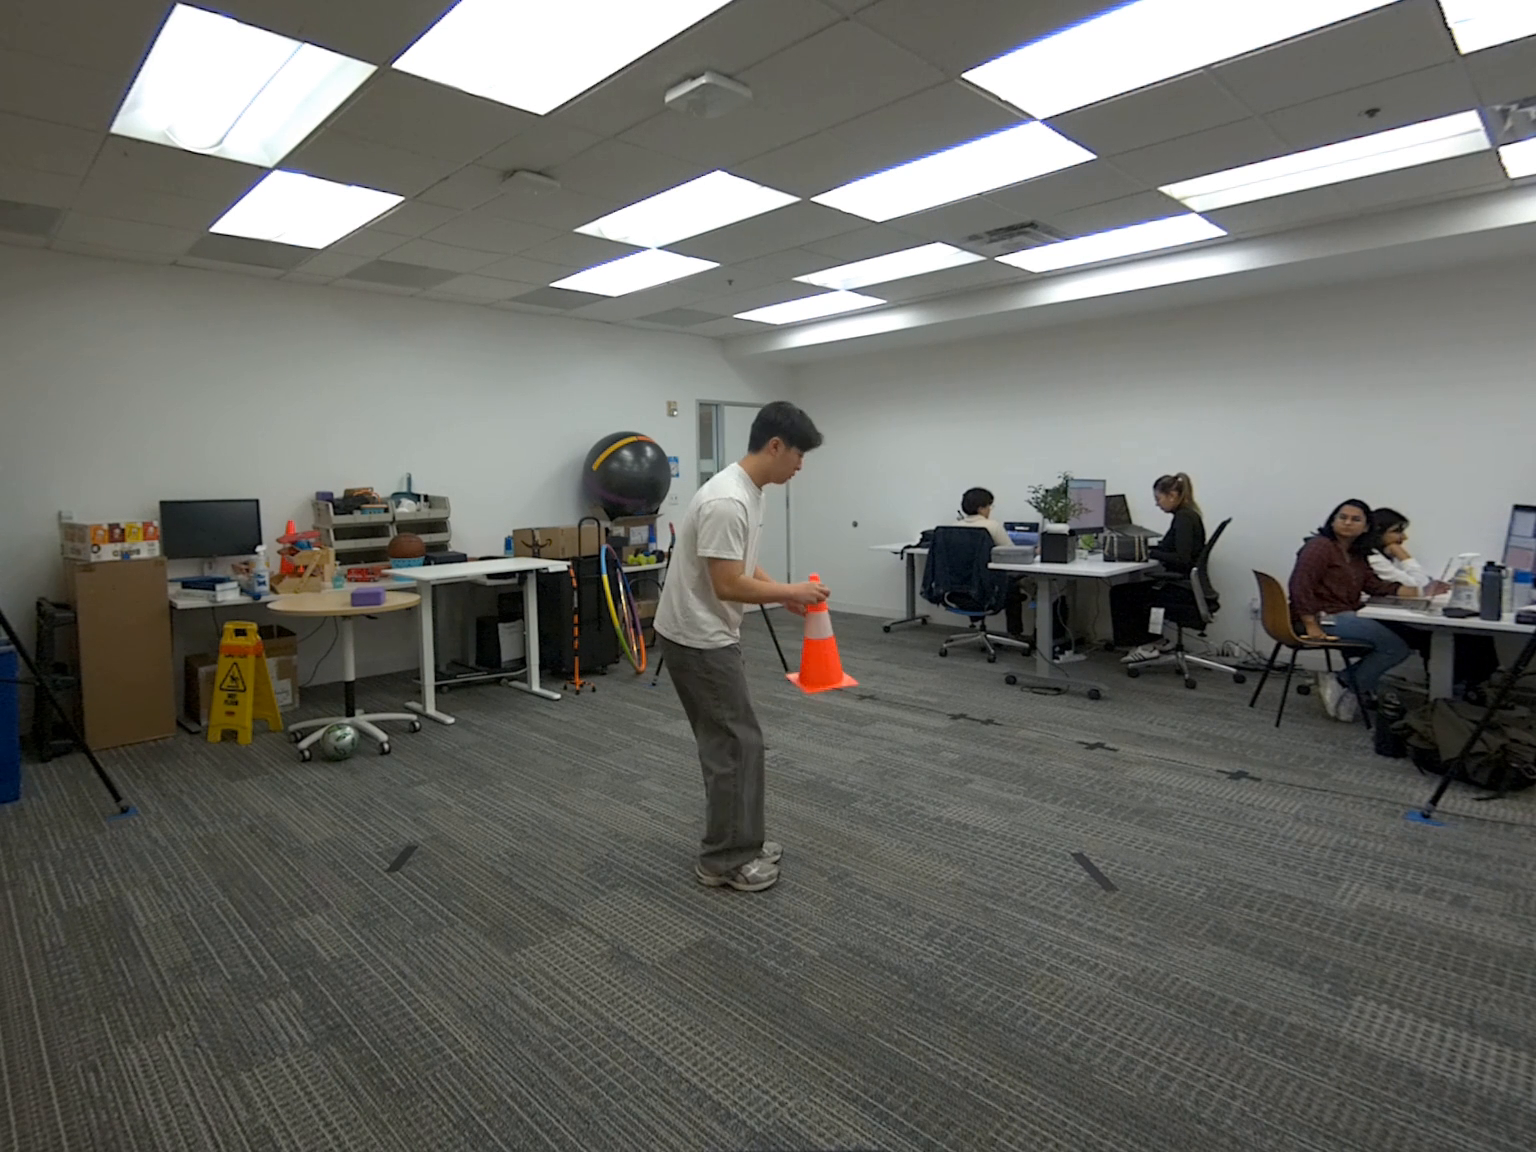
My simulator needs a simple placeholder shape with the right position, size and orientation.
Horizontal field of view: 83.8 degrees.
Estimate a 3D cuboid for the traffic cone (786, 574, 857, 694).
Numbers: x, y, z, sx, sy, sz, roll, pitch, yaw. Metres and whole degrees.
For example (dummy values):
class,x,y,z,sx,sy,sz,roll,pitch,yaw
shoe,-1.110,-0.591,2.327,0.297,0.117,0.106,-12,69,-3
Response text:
class,x,y,z,sx,sy,sz,roll,pitch,yaw
traffic cone,0.170,0.194,2.979,0.201,0.380,0.209,-9,11,-23
